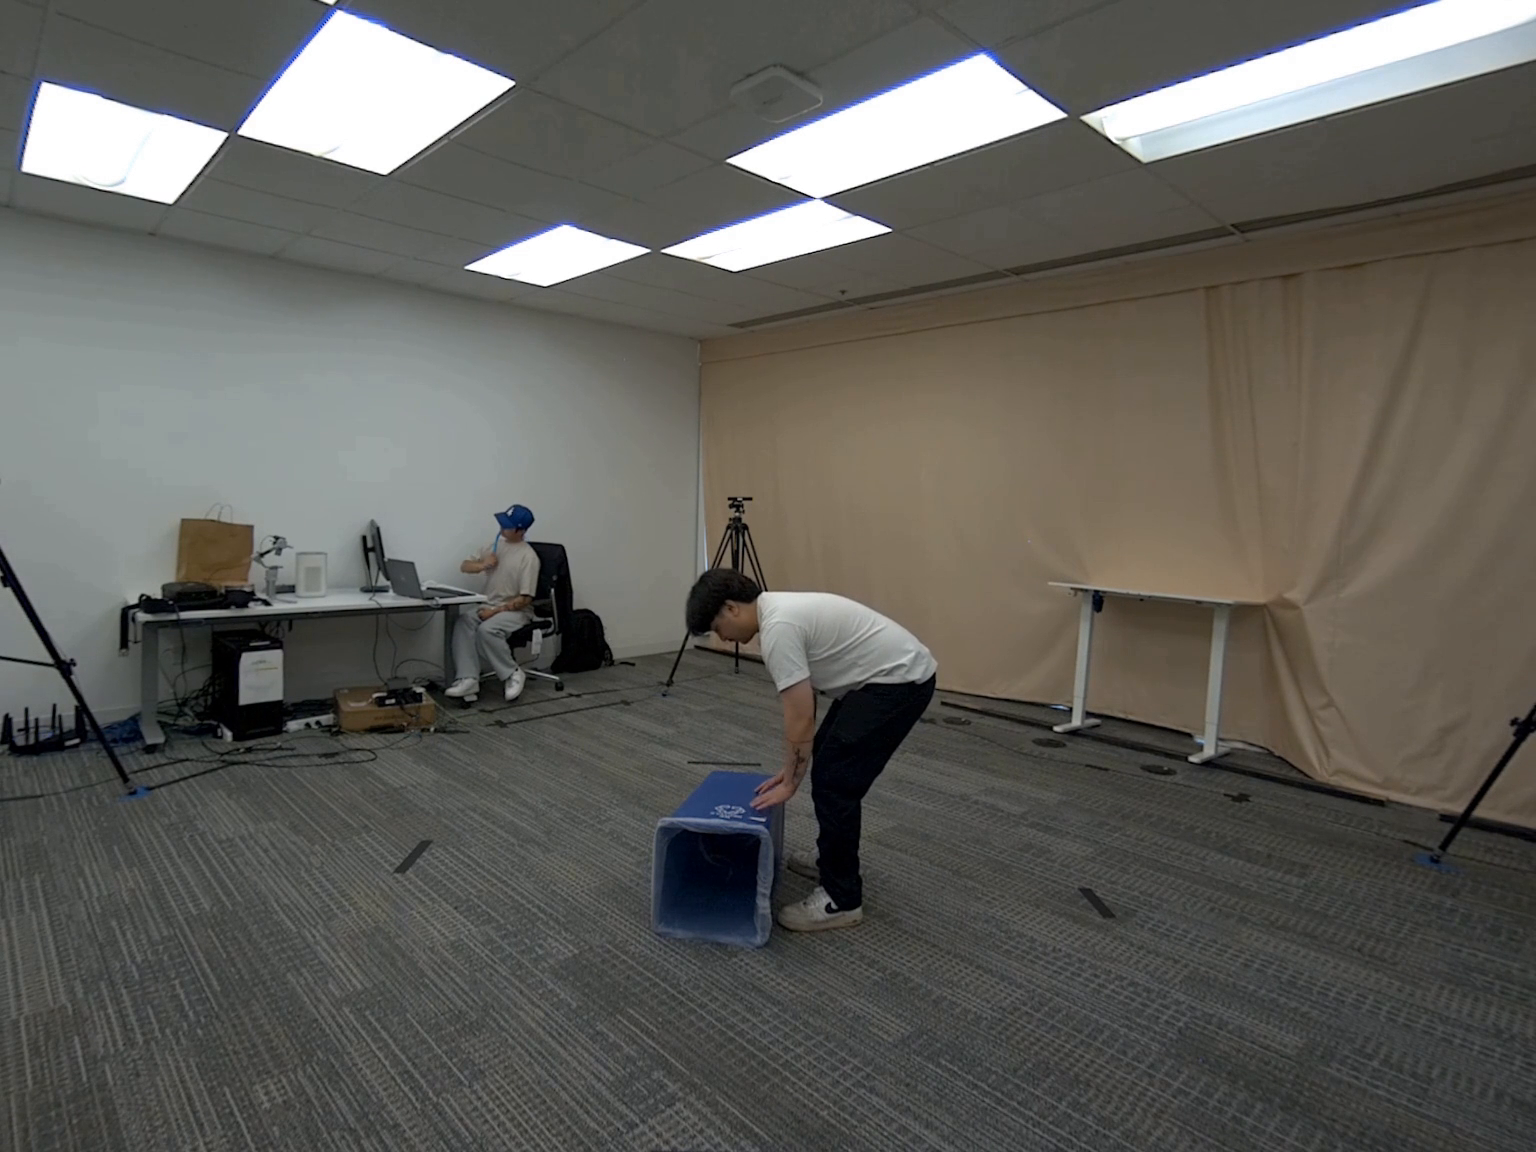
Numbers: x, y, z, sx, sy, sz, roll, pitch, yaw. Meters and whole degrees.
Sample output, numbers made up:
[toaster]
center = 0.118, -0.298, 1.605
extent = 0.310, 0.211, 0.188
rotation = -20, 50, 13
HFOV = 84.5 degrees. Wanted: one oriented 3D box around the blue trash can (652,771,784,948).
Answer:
[blue trash can]
center = -0.143, 0.952, 2.981
extent = 0.376, 0.378, 0.709
rotation = 2, 2, 7
